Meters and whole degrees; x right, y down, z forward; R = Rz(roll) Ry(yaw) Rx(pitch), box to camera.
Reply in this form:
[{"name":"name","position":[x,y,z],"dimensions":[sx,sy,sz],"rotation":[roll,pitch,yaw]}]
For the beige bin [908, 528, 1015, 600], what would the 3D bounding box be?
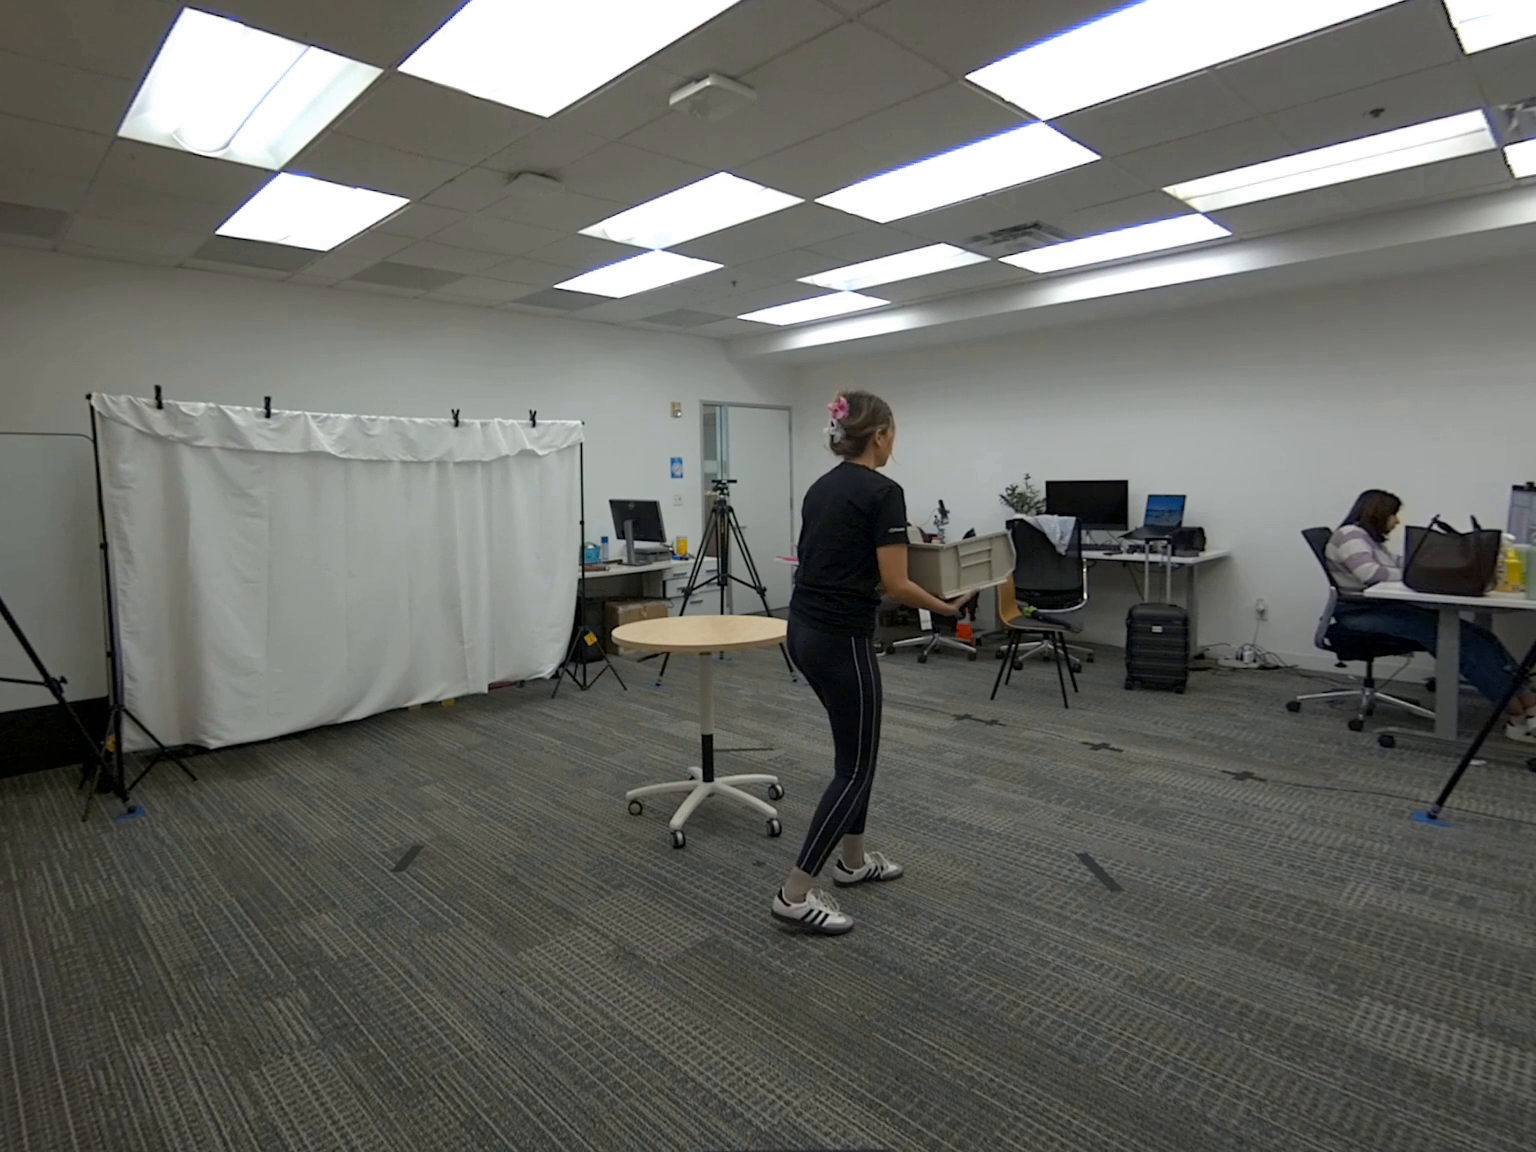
[{"name":"beige bin","position":[0.577,-0.054,2.996],"dimensions":[0.369,0.187,0.435],"rotation":[-12,12,-35]}]
